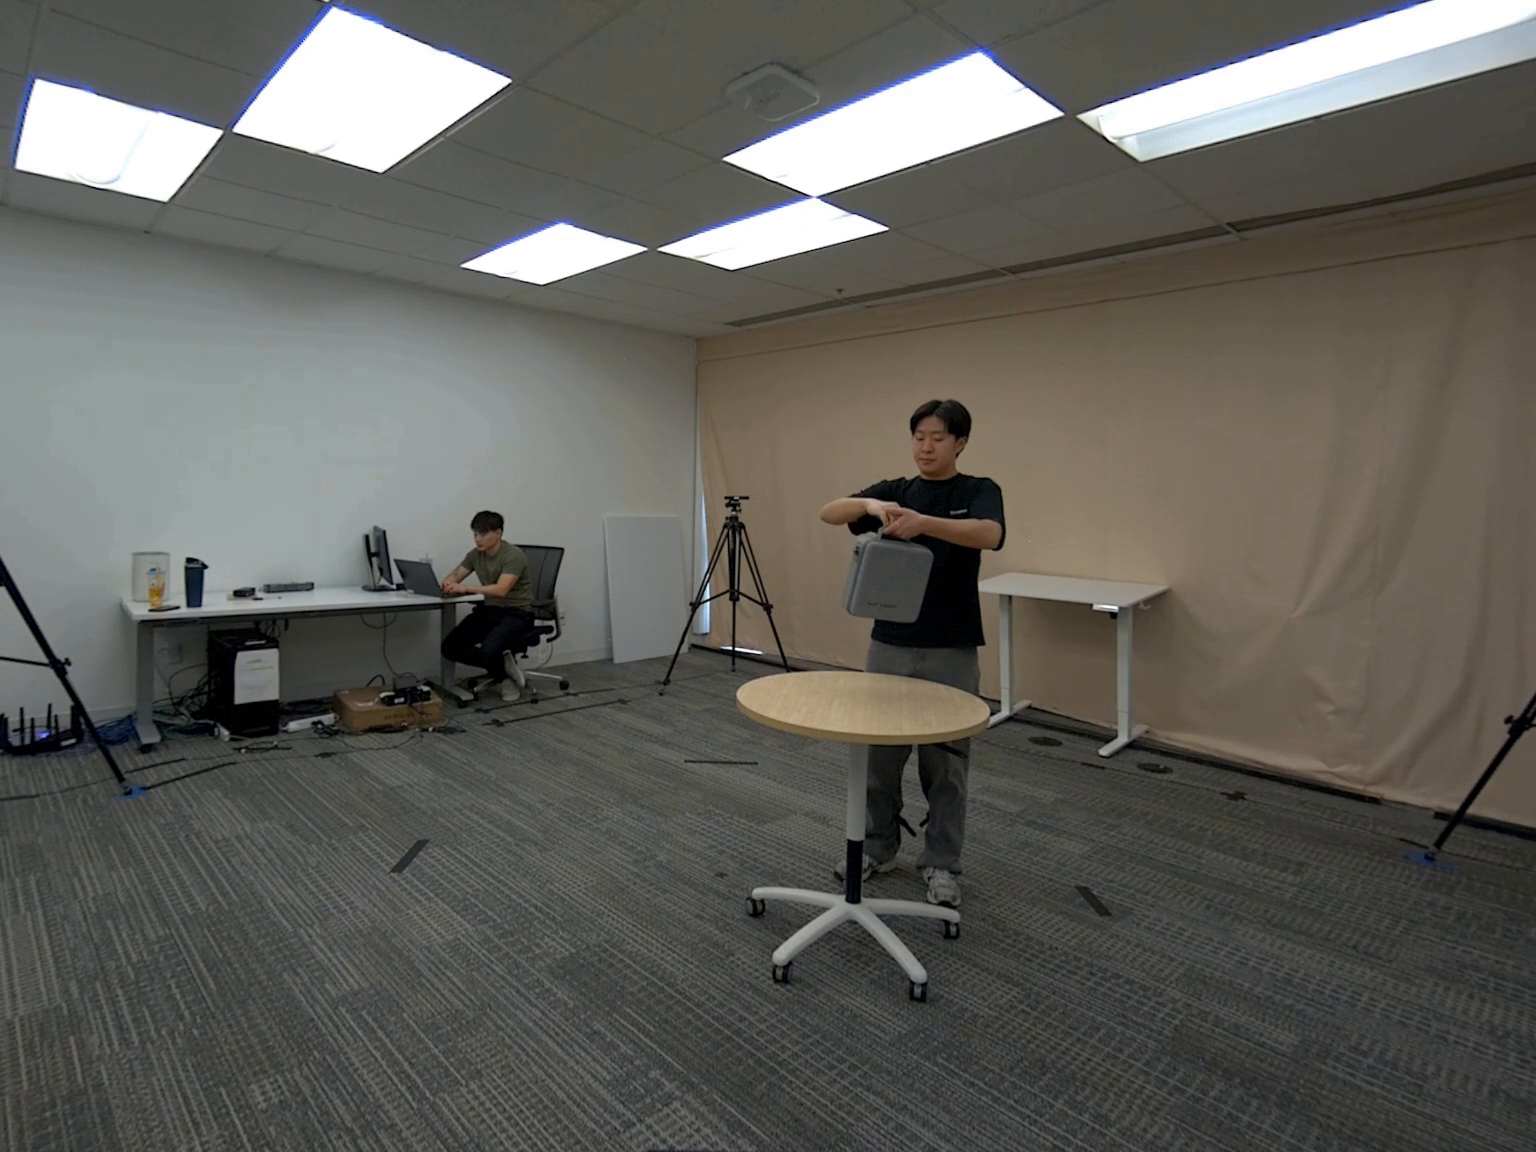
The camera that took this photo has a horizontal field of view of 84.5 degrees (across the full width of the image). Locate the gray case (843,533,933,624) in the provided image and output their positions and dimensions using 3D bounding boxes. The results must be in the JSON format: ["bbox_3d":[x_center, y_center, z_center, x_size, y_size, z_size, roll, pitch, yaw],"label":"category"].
[{"bbox_3d":[0.376,0.000,2.703,0.258,0.286,0.105,9,6,-23],"label":"gray case"}]
